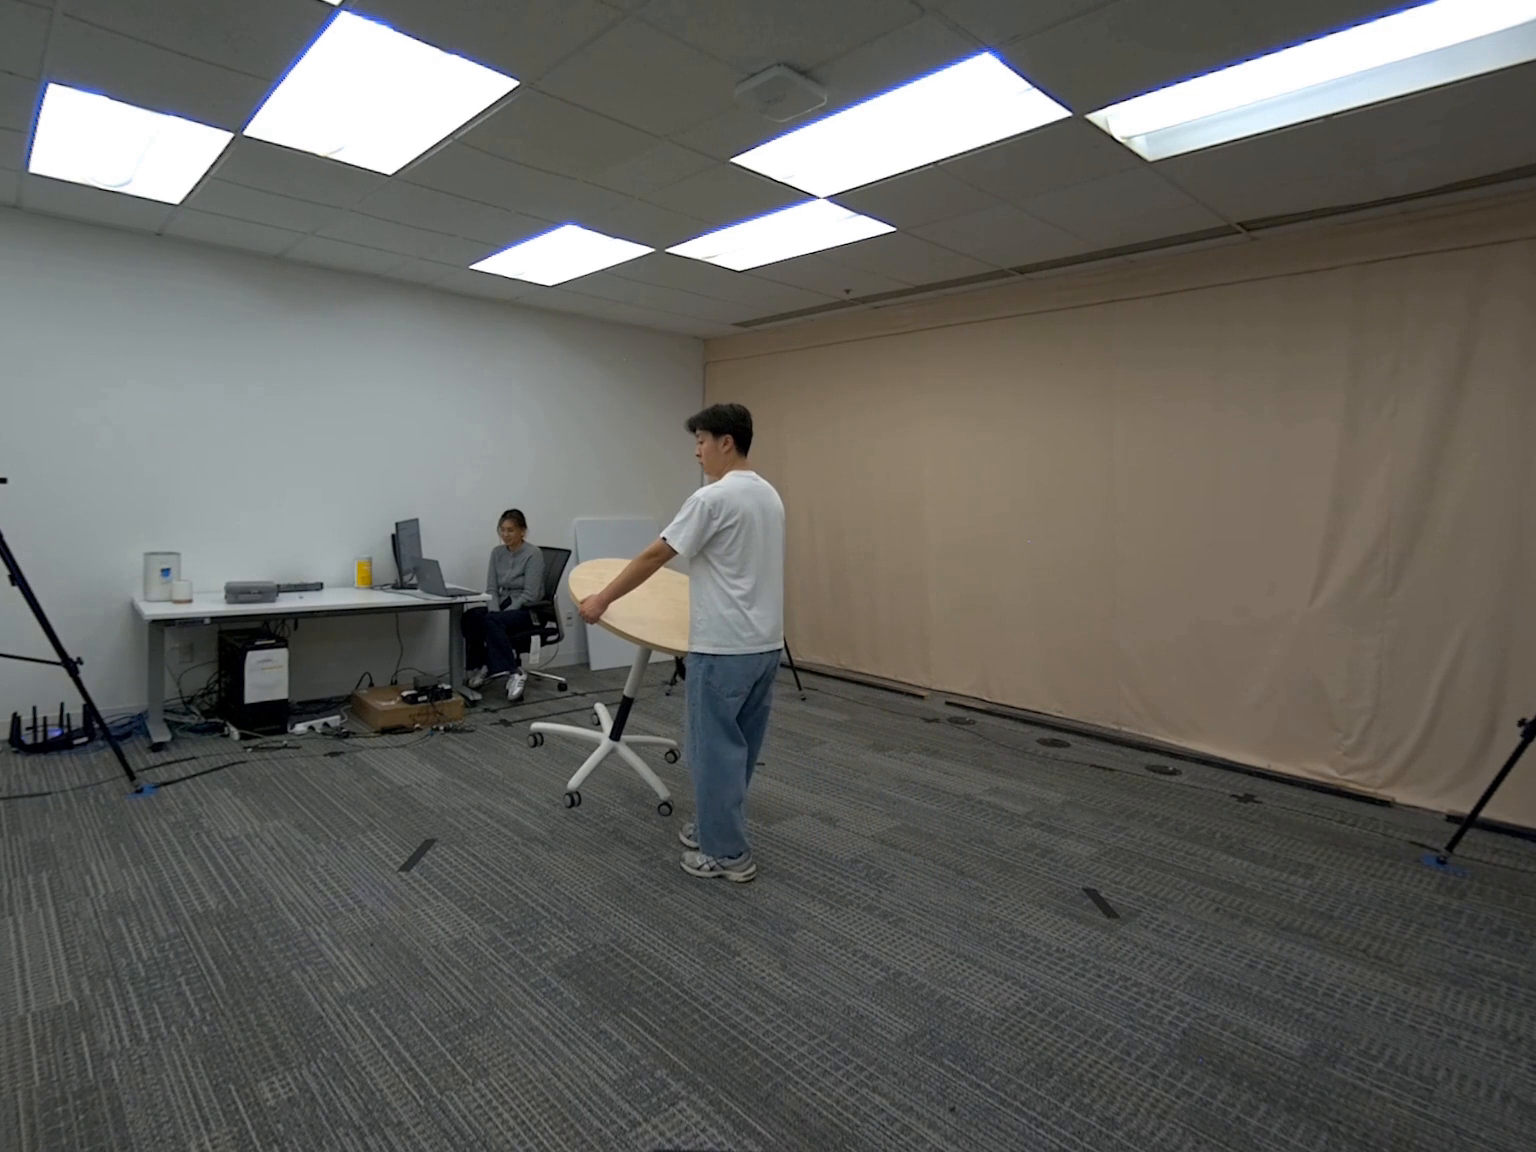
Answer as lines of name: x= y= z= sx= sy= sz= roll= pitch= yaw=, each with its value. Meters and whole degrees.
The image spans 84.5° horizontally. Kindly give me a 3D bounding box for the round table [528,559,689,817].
round table: x=-0.572 y=0.468 z=3.500 sx=0.759 sy=0.788 sz=0.775 roll=18 pitch=18 yaw=-7
